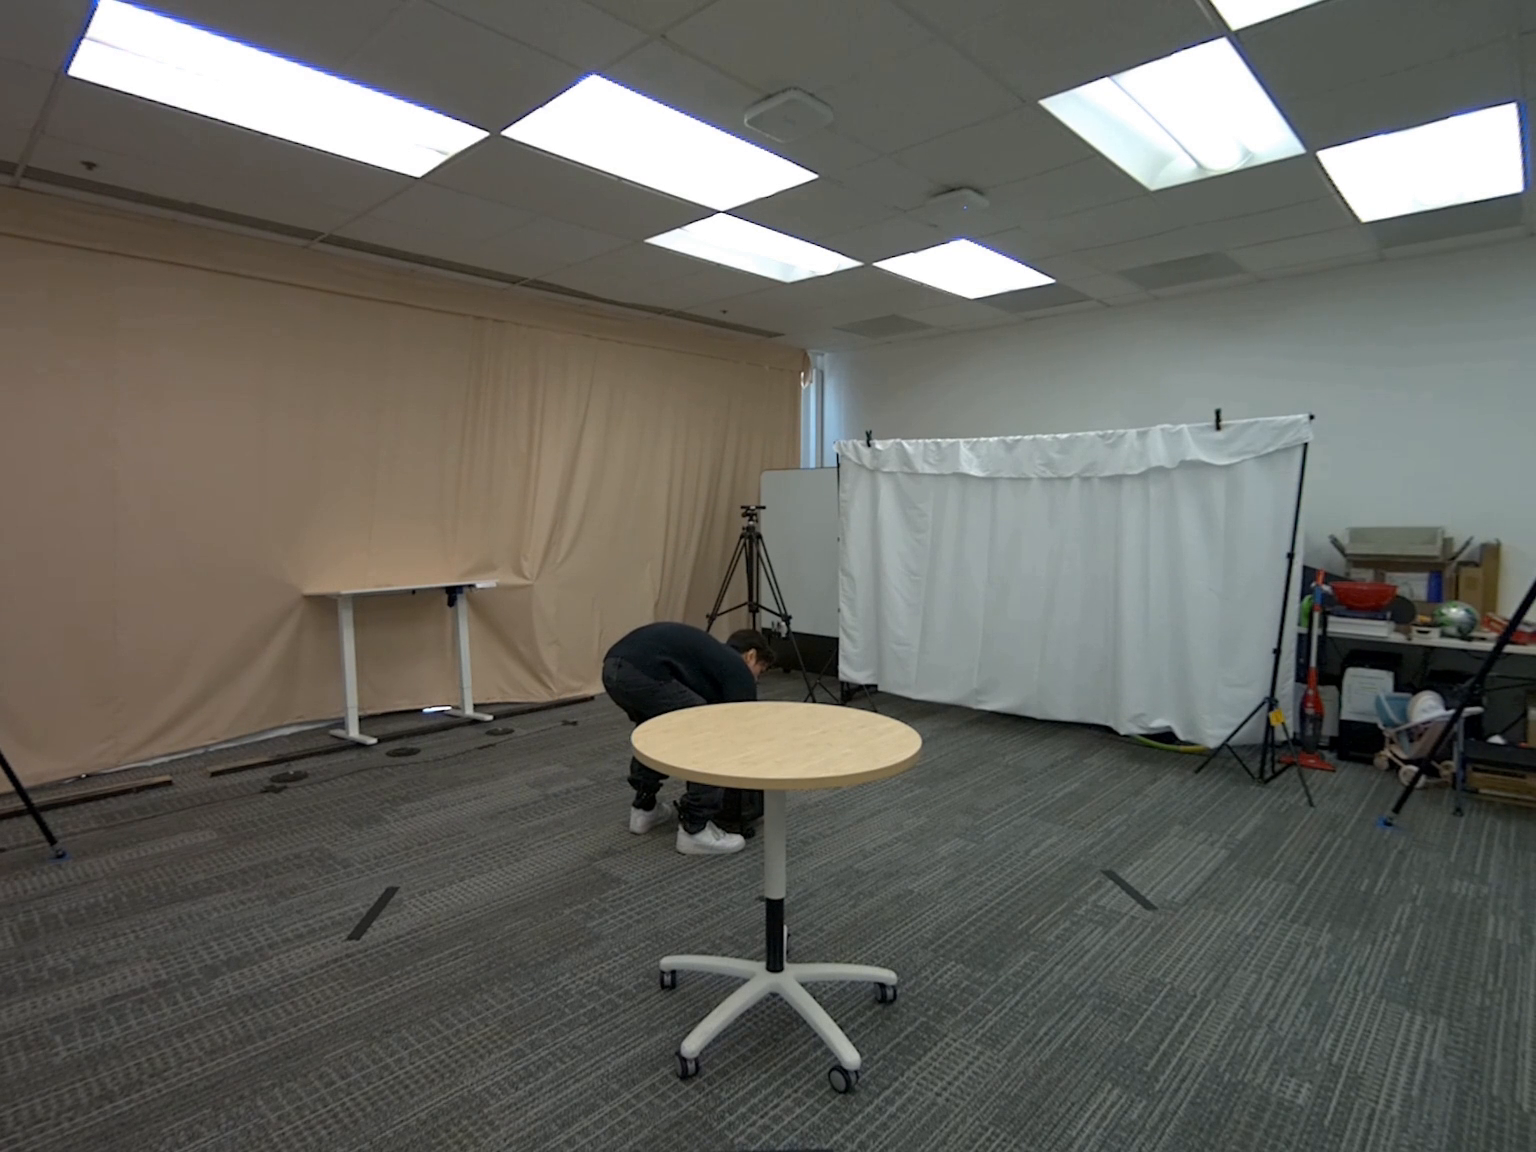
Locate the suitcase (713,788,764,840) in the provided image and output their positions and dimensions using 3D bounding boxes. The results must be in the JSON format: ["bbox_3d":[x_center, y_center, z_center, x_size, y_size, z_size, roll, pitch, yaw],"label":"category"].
[{"bbox_3d":[-0.160,0.805,3.698,0.387,0.548,0.241,3,3,38],"label":"suitcase"}]
